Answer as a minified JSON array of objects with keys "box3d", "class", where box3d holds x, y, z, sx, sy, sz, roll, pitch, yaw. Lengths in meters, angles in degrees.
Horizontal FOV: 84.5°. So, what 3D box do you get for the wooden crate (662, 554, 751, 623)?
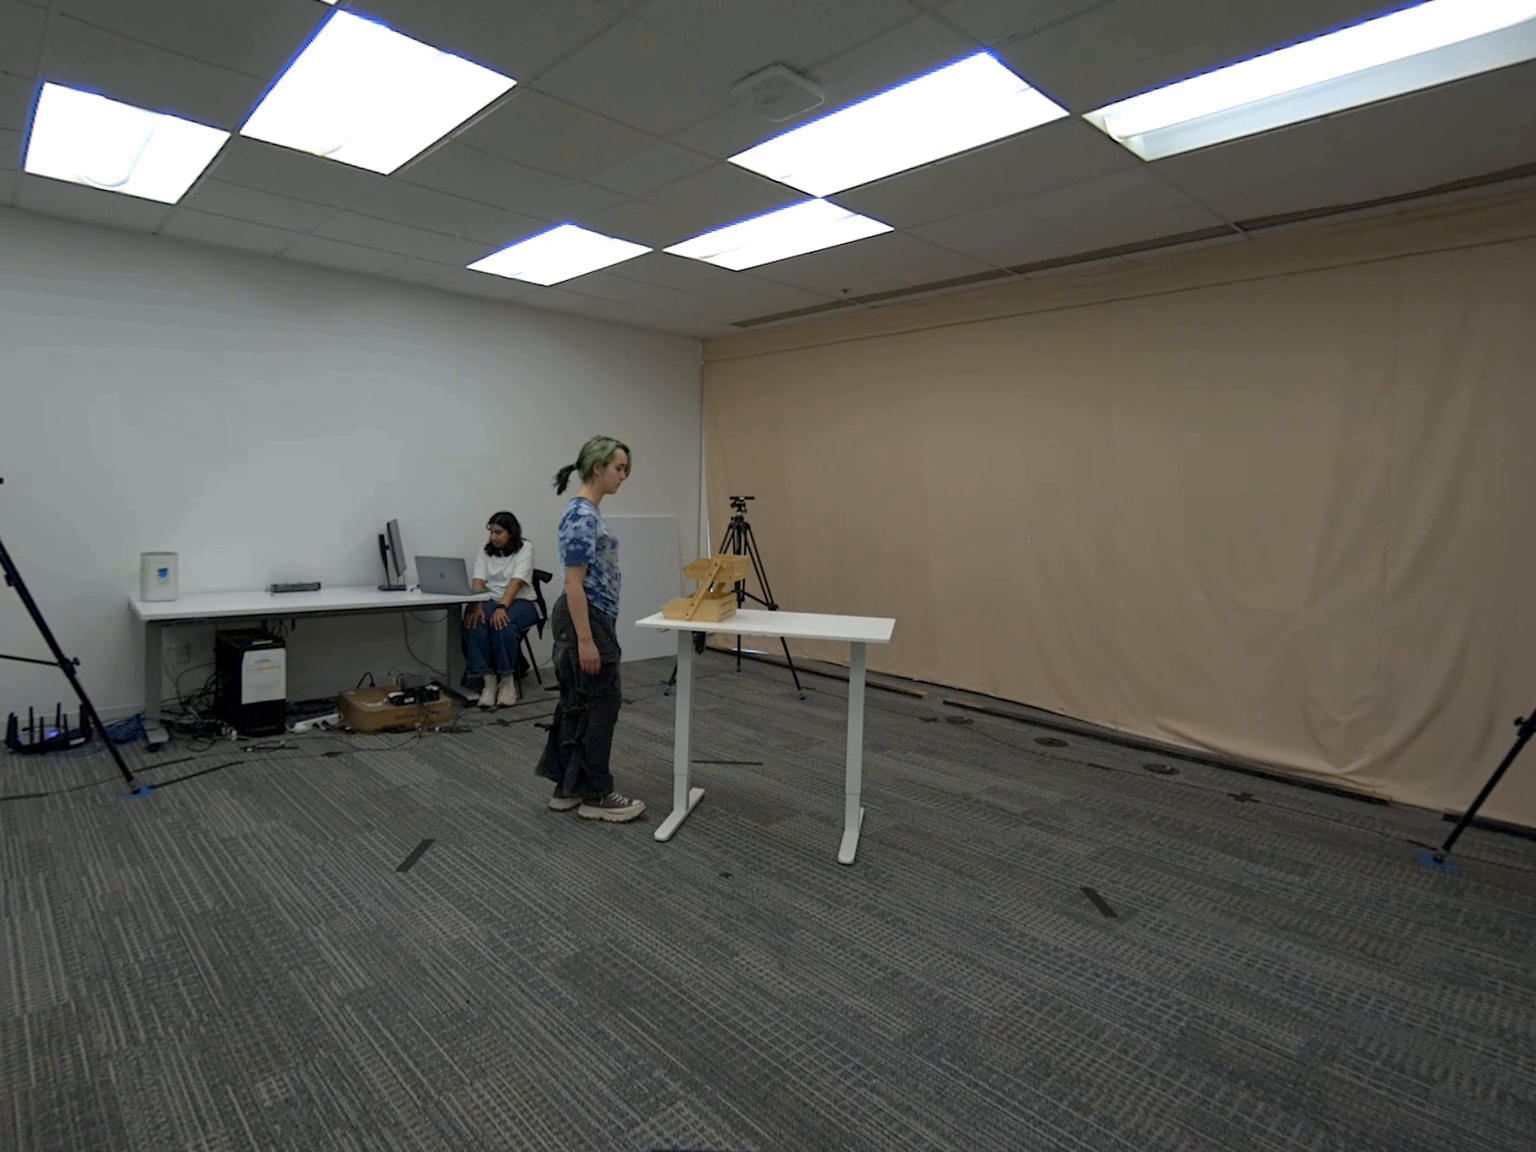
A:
[{"box3d":[-0.275,0.040,3.585,0.305,0.272,0.322,4,5,12],"class":"wooden crate"}]
